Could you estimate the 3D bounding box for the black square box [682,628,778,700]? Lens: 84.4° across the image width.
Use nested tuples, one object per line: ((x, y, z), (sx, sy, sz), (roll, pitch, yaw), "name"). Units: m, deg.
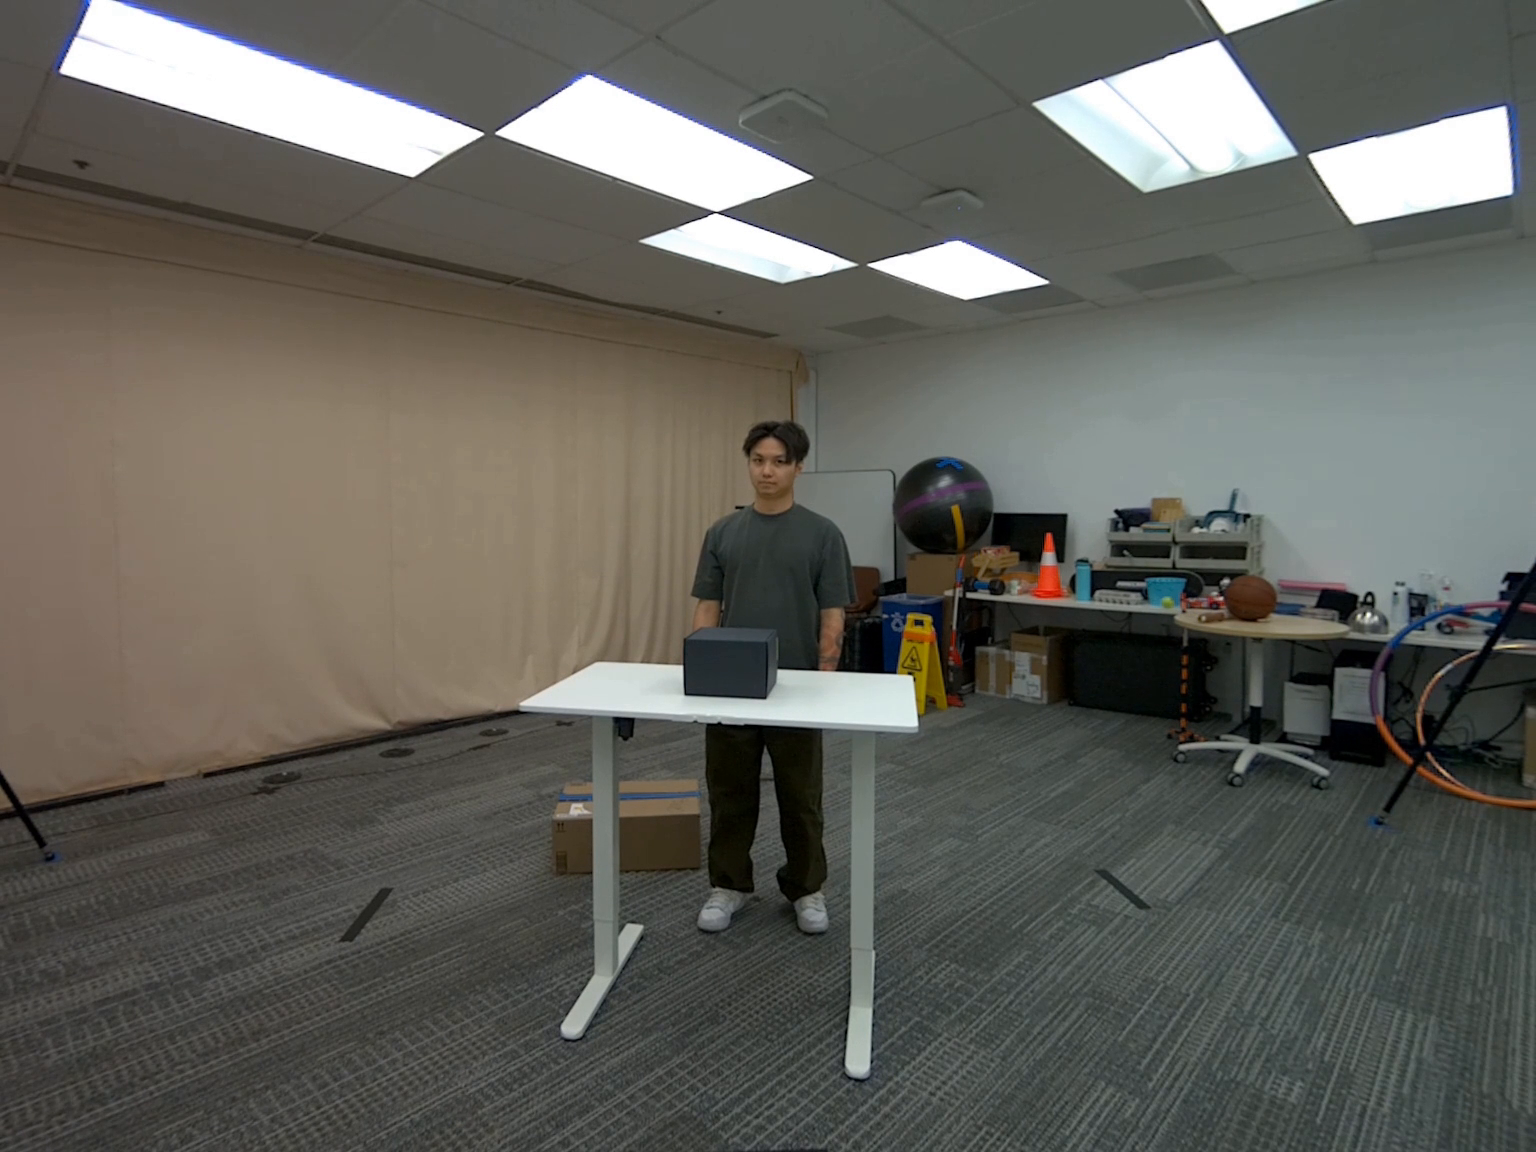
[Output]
((-0.097, 0.235, 2.339), (0.231, 0.155, 0.215), (2, 6, 11), "black square box")
